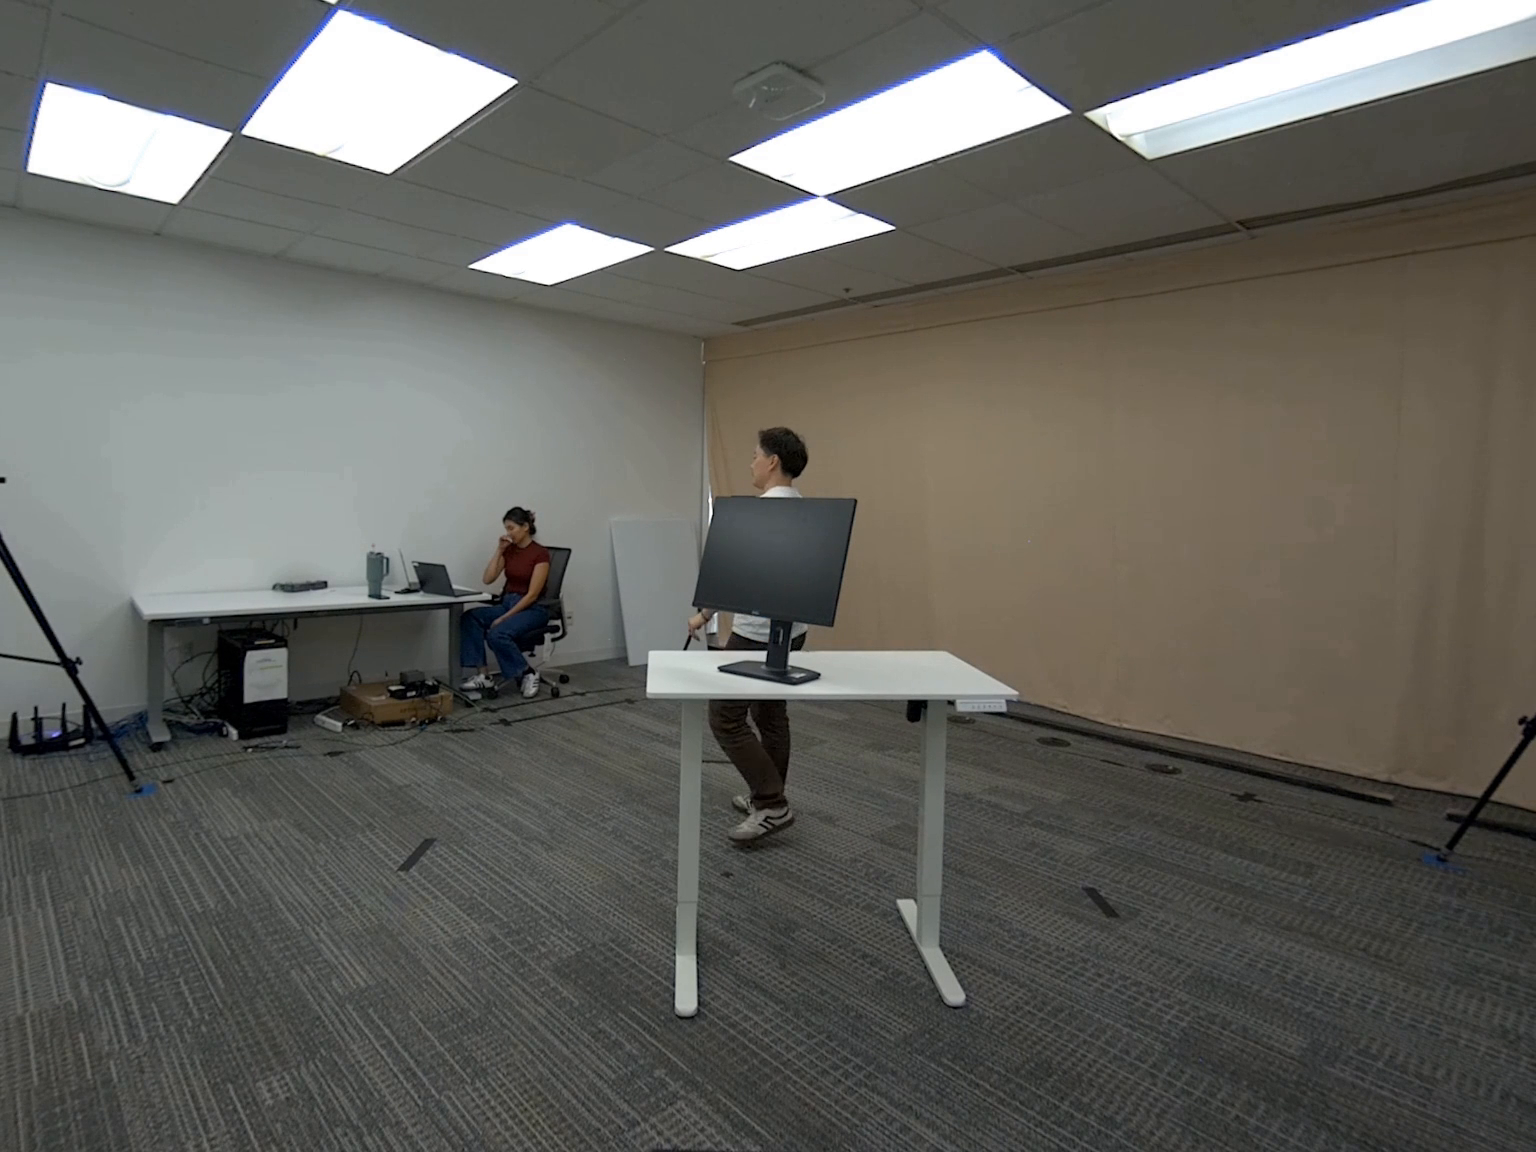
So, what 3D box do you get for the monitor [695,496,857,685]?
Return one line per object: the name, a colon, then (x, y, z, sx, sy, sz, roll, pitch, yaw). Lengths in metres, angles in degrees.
monitor: (0.016, 0.036, 2.431, 0.552, 0.522, 0.182, 4, 2, 41)
